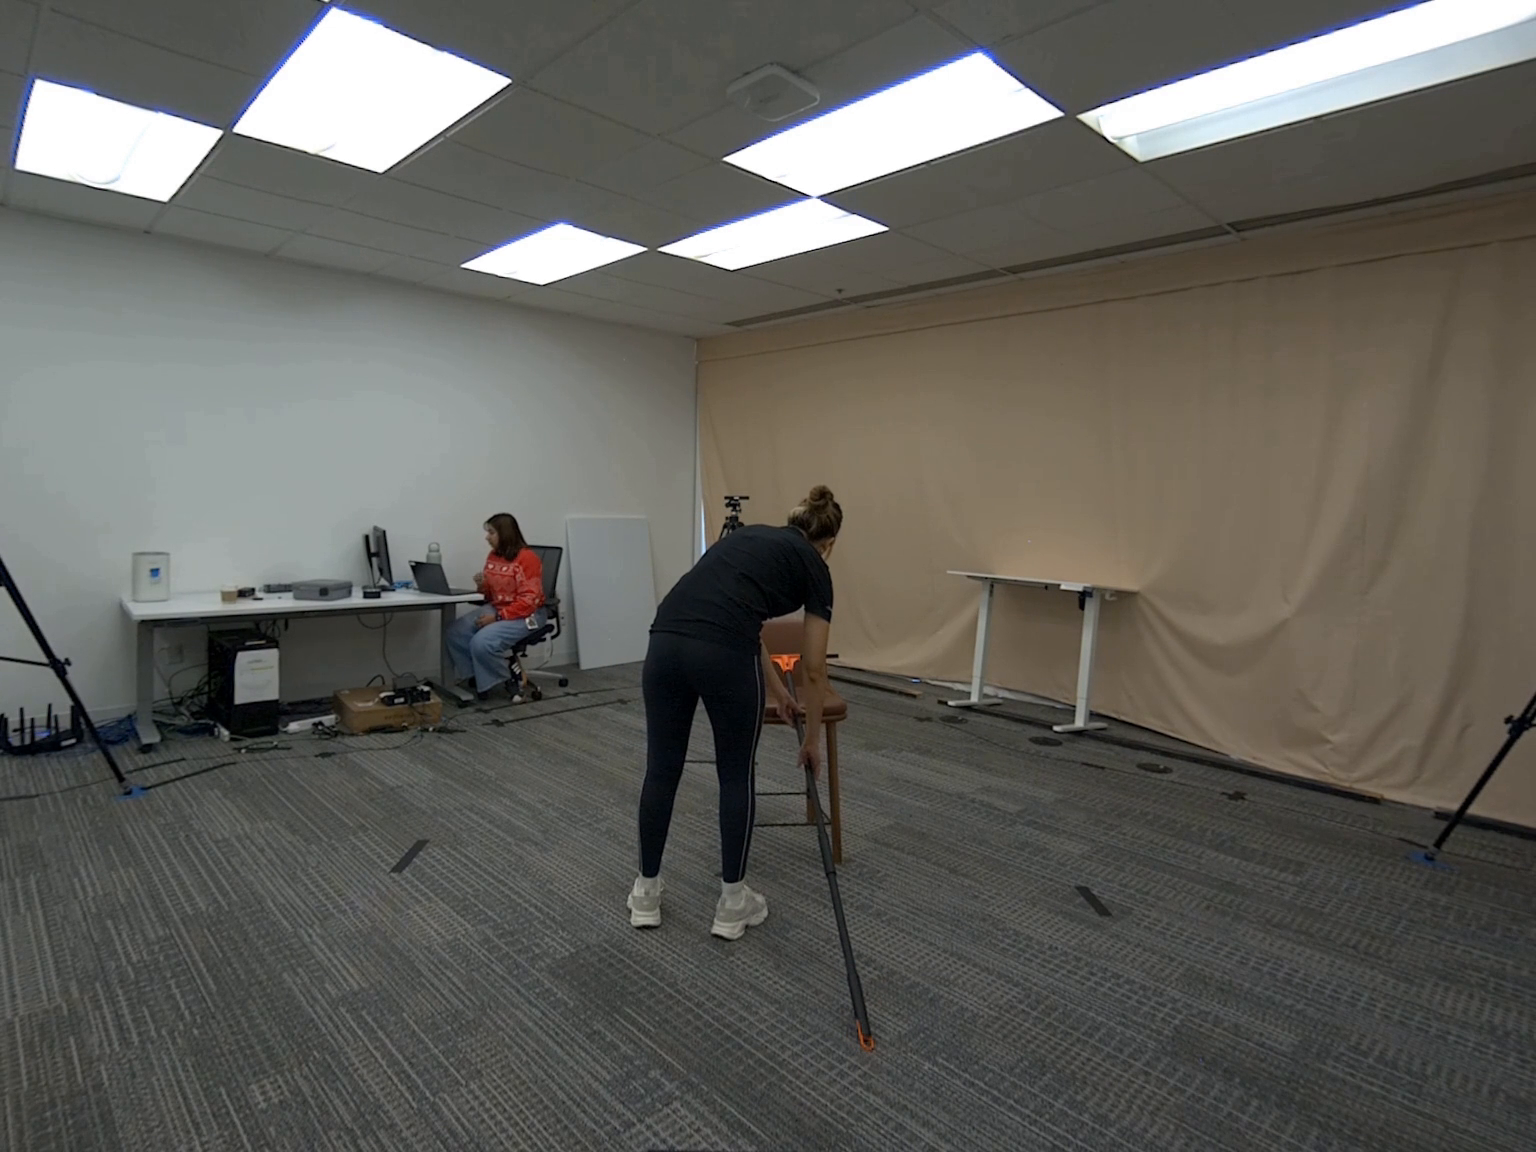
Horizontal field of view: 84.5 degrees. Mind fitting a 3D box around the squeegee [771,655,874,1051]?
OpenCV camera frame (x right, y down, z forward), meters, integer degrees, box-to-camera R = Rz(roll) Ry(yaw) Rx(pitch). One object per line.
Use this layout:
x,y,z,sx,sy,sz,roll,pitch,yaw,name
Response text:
0.160,0.759,2.773,0.439,0.051,1.576,-30,34,13,squeegee
